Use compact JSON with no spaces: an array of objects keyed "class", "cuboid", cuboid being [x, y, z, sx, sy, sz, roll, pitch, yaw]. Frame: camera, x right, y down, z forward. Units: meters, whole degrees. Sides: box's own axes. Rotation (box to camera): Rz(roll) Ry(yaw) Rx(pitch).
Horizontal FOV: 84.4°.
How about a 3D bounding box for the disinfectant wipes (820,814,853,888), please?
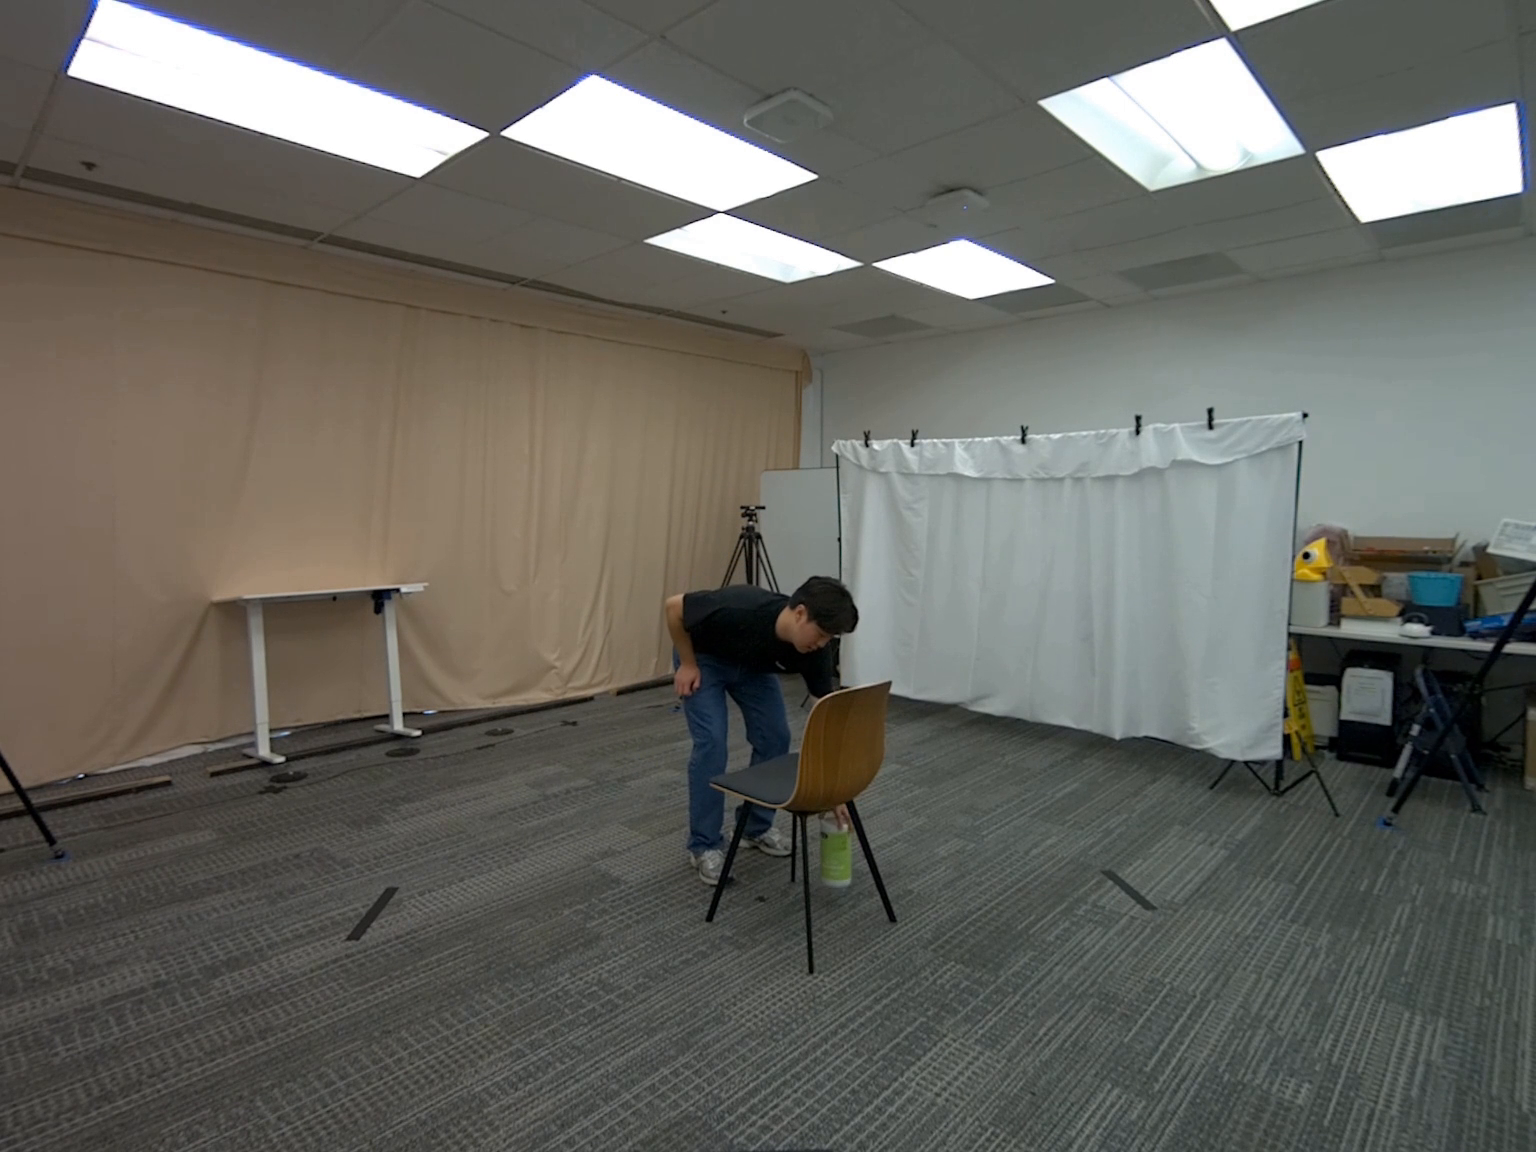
[{"class":"disinfectant wipes","cuboid":[0.245,0.970,2.964,0.118,0.217,0.118,-1,0,-2]}]
